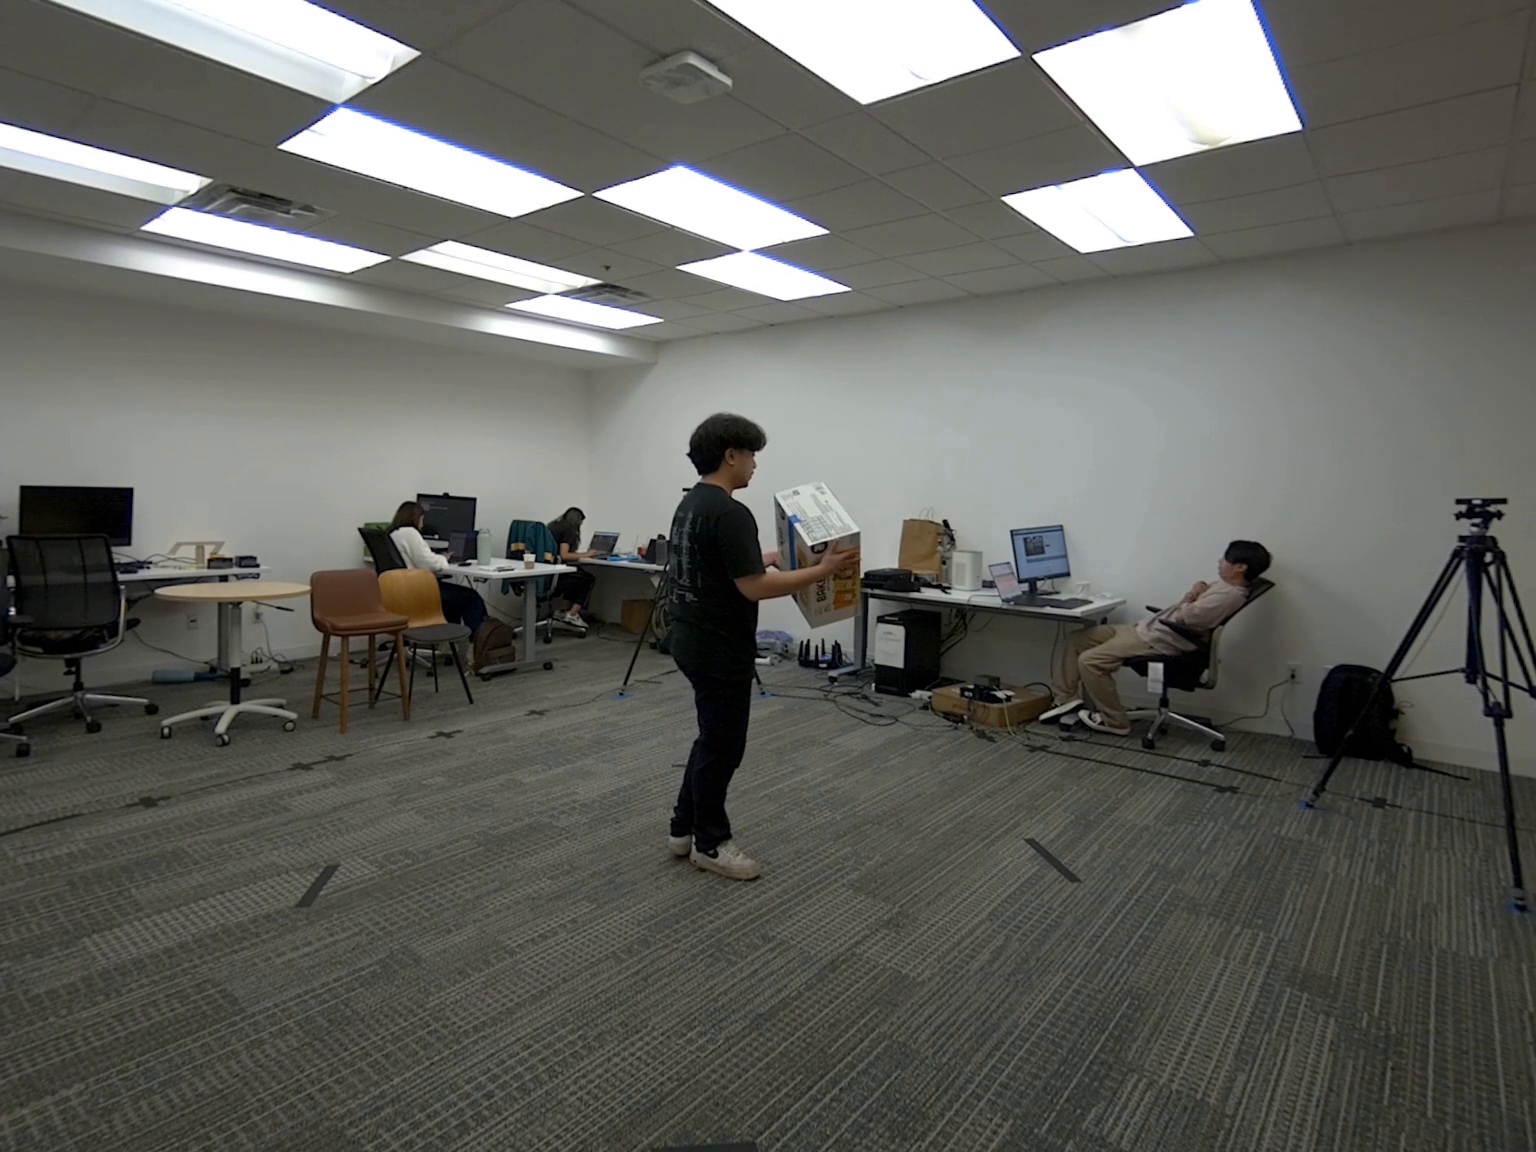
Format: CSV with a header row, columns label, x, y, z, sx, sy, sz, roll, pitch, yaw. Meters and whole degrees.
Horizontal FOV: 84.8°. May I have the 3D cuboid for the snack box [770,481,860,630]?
label,x,y,z,sx,sy,sz,roll,pitch,yaw
snack box,0.177,-0.081,3.196,0.204,0.392,0.354,-15,41,-12
